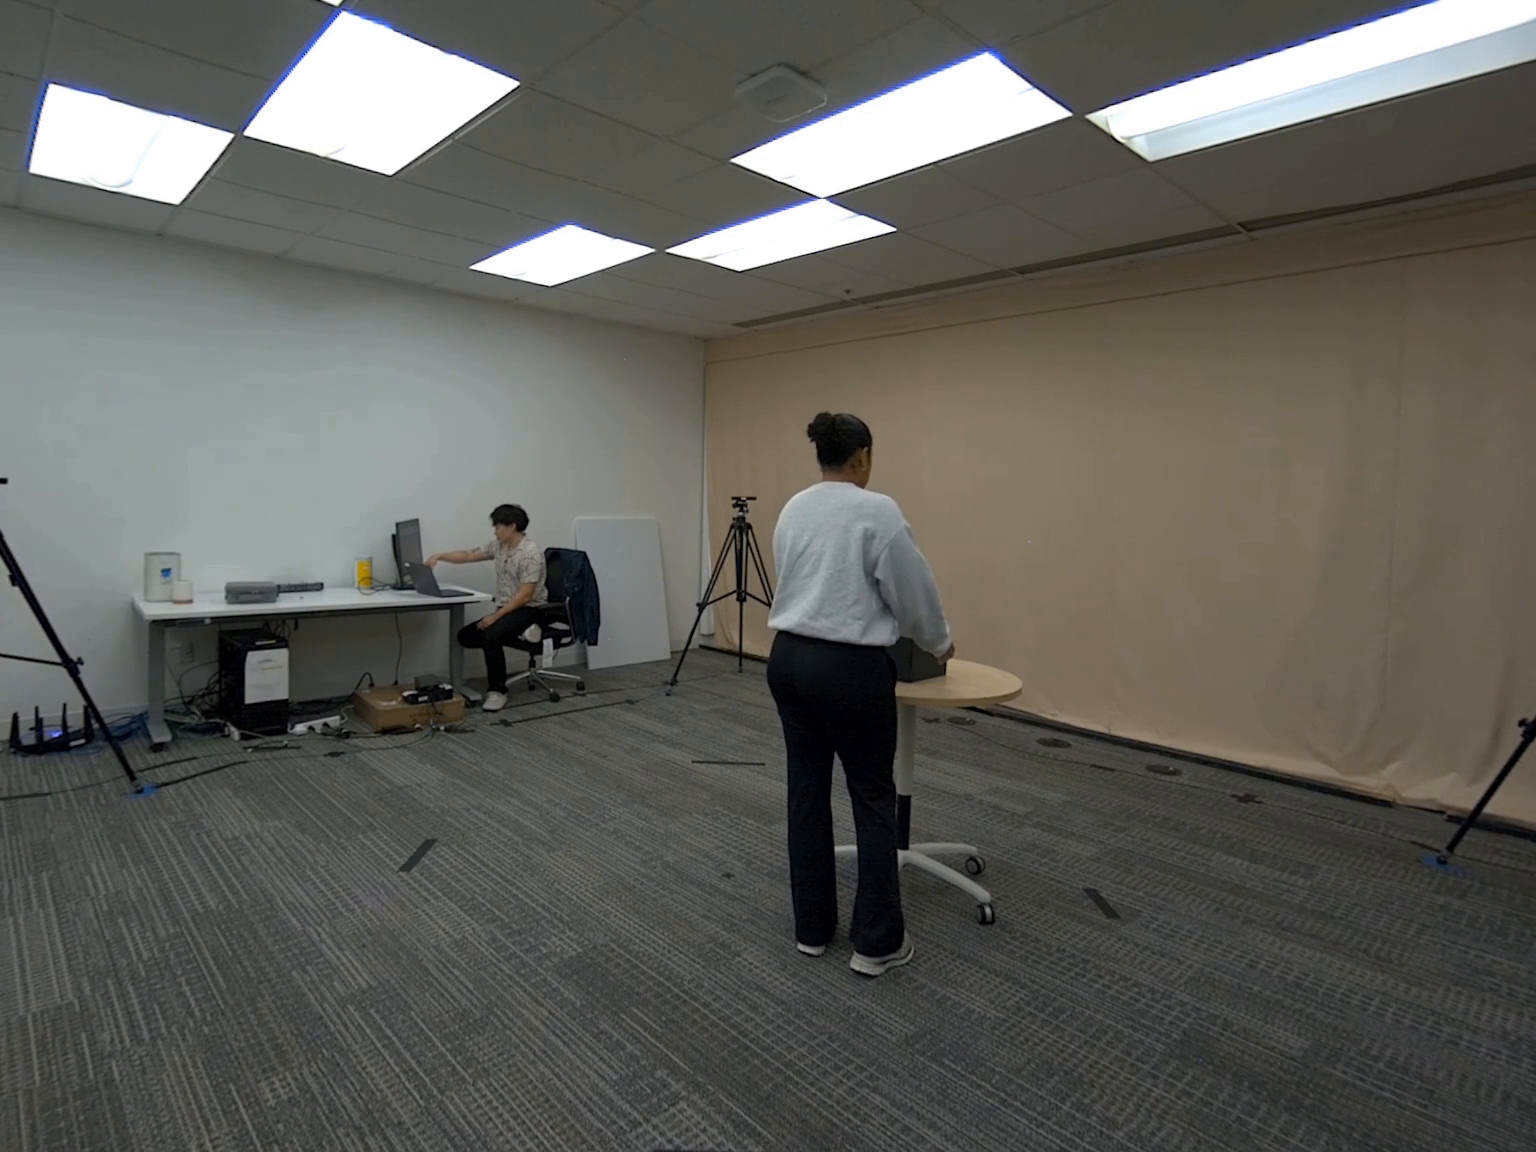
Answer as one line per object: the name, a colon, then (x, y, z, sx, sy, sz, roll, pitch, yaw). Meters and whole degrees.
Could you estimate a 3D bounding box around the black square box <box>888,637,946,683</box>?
black square box: (0.482, 0.272, 2.992, 0.222, 0.155, 0.222, 7, 6, 45)
